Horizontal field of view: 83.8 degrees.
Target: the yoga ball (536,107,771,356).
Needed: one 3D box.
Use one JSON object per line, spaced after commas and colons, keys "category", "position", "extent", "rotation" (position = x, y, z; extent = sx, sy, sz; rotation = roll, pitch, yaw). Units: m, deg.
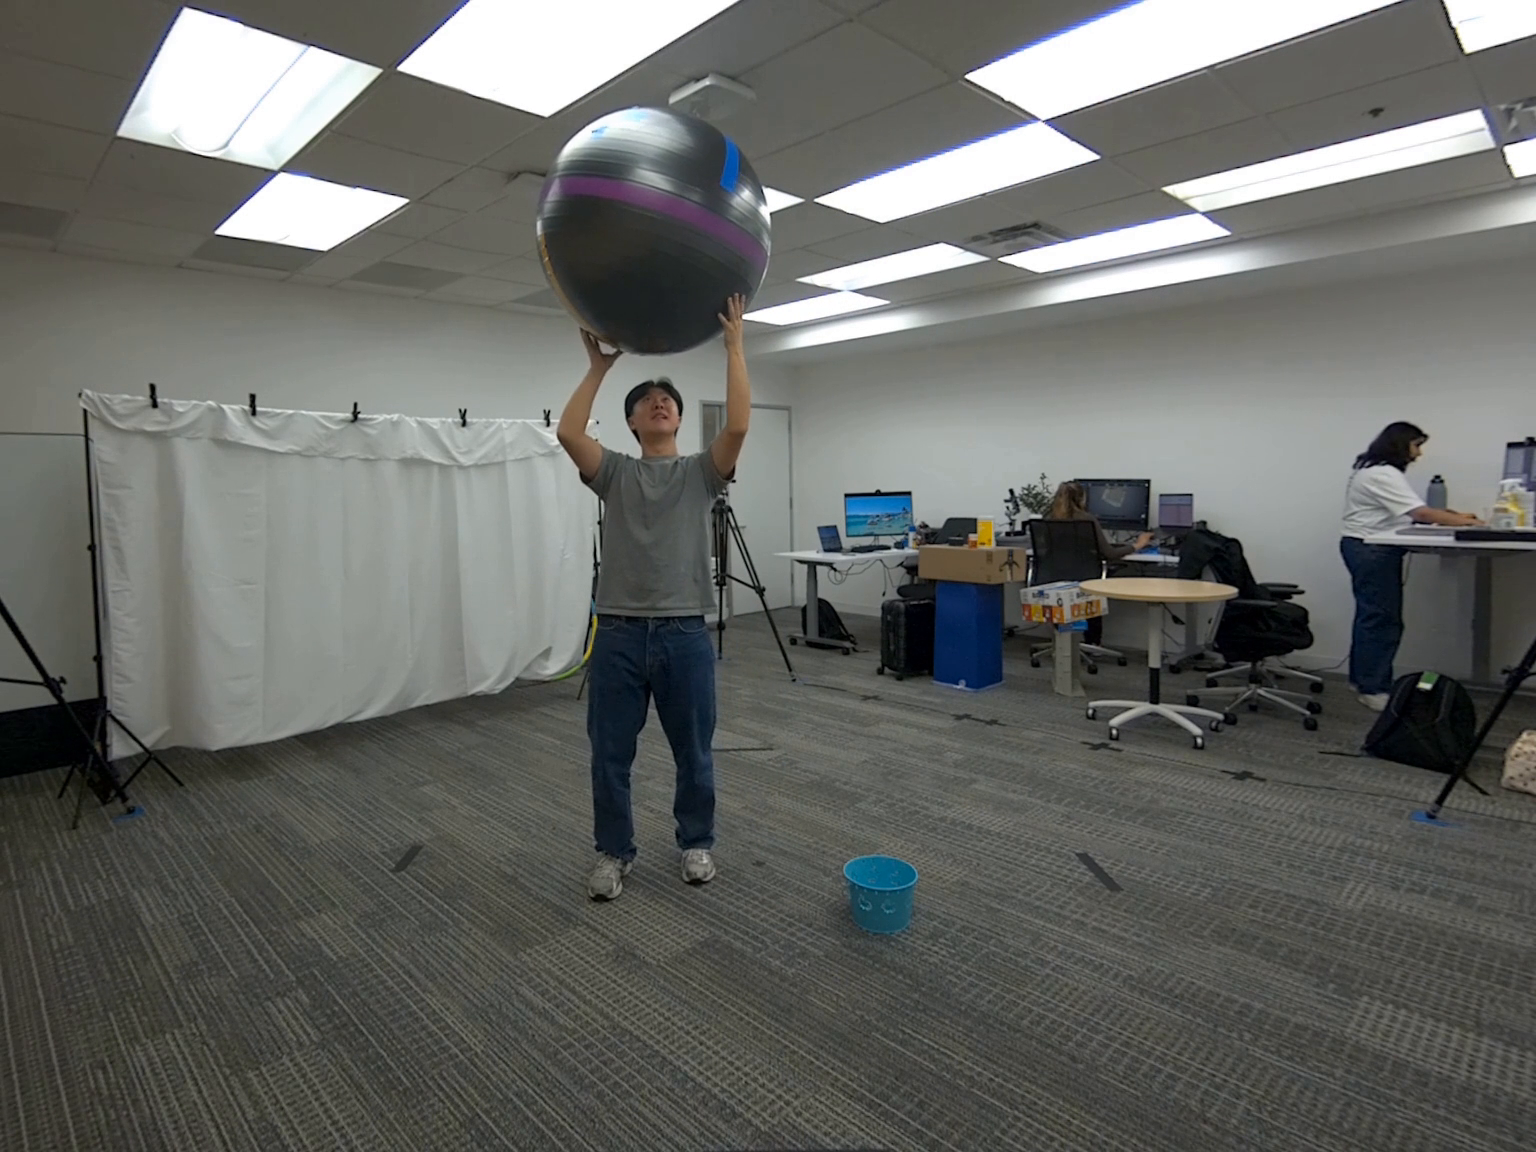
{"category": "yoga ball", "position": [-0.377, -1.106, 2.784], "extent": [0.757, 0.755, 0.762], "rotation": [-1, 5, -2]}
